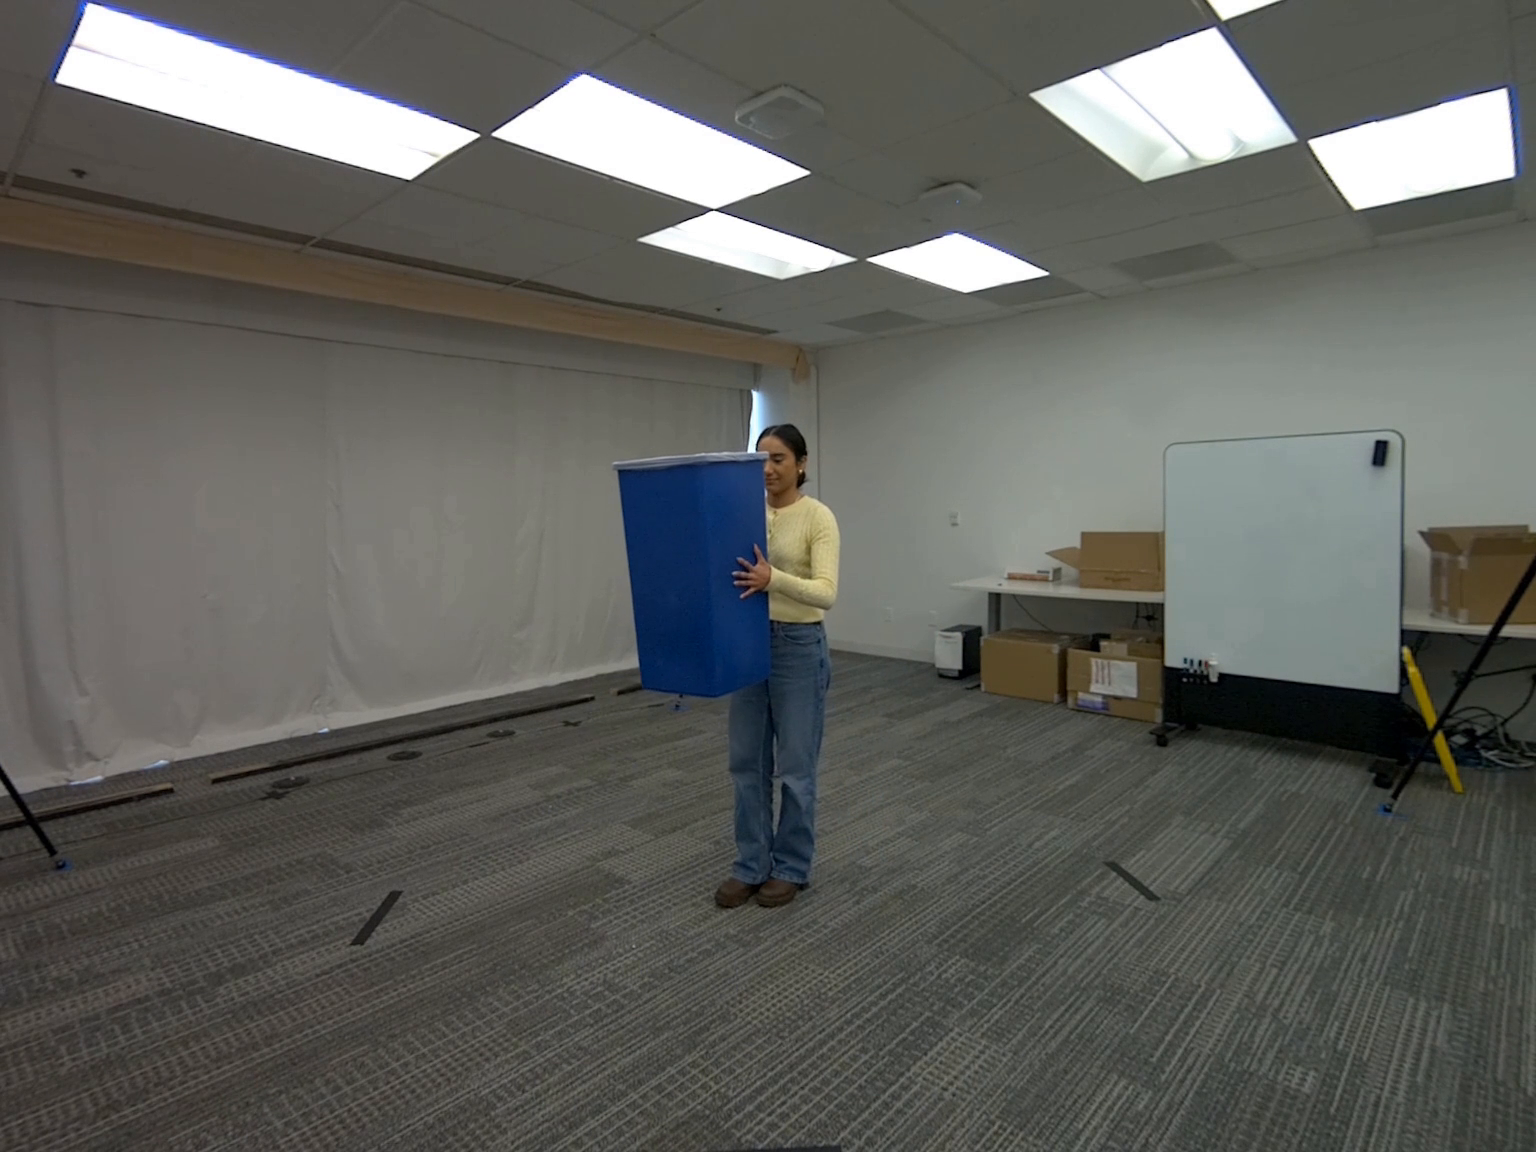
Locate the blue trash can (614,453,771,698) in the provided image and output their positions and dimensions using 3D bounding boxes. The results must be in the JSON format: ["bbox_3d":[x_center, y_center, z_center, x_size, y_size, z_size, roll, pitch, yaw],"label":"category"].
[{"bbox_3d":[-0.217,-0.016,2.626,0.389,0.712,0.364,-1,5,36],"label":"blue trash can"}]
